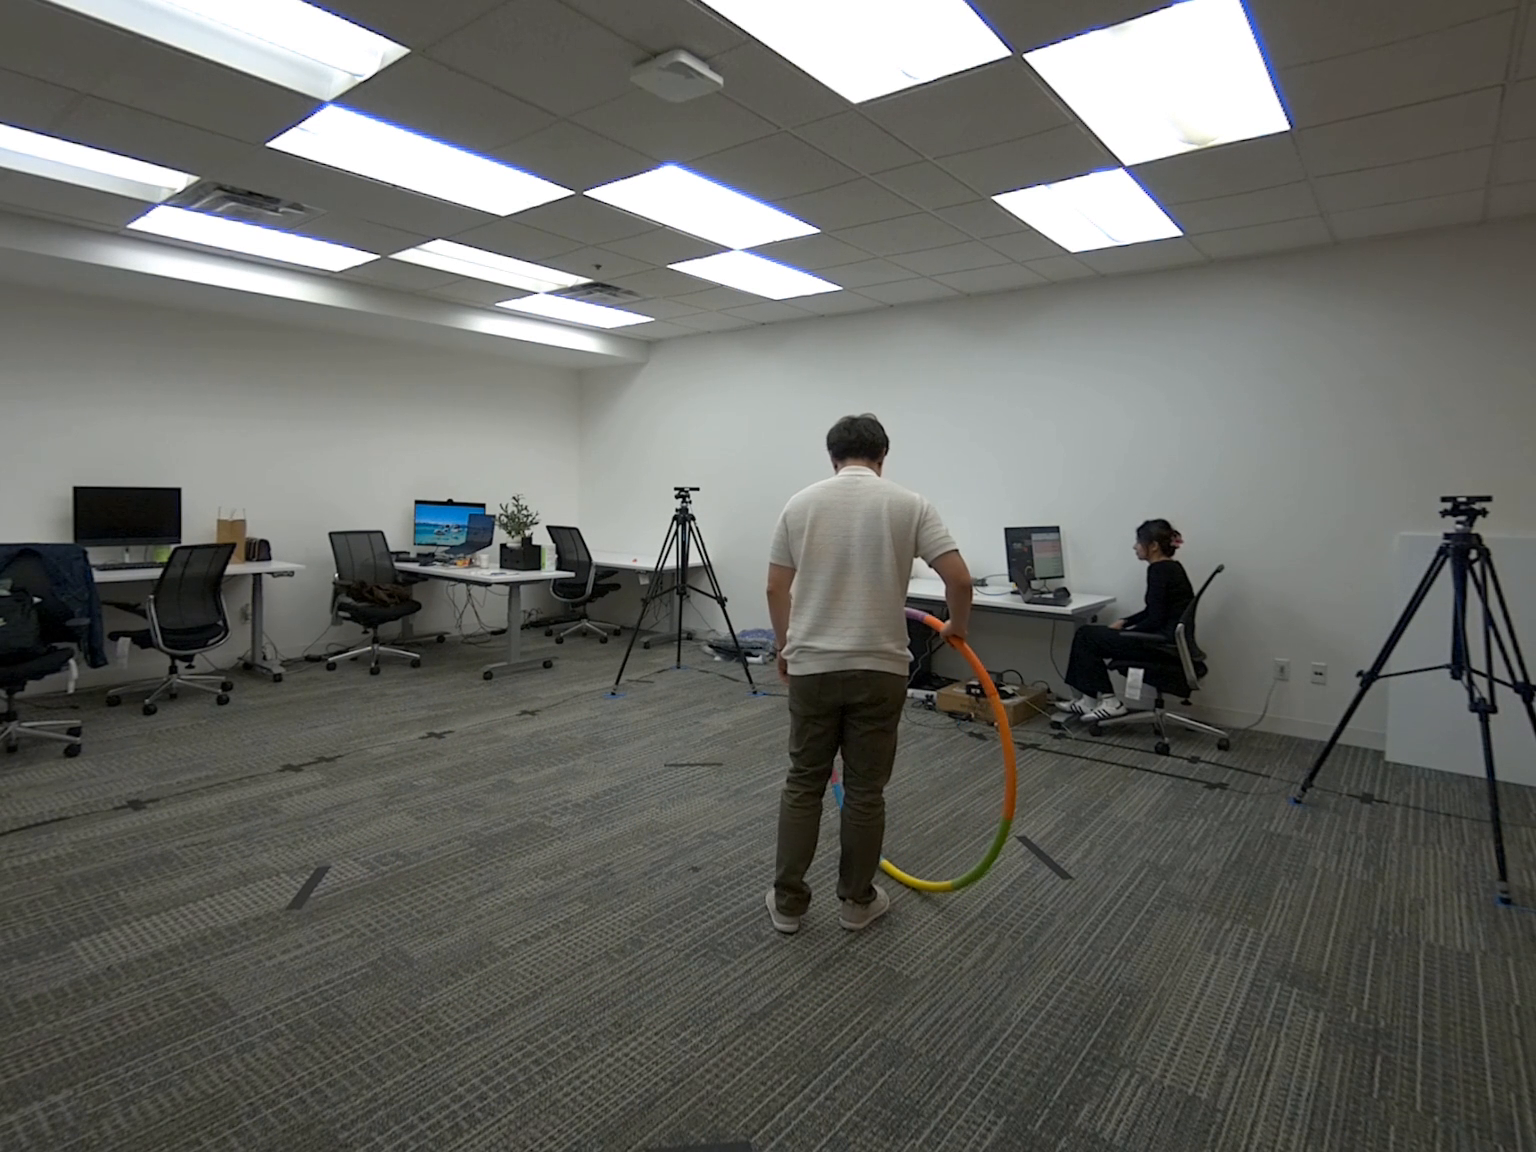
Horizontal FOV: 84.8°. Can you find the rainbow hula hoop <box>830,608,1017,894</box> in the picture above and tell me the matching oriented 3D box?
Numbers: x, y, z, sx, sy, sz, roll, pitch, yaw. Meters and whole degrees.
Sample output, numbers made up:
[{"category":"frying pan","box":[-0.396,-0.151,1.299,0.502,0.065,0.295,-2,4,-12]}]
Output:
[{"category":"rainbow hula hoop","box":[0.462,0.598,3.019,0.034,0.975,1.009,-2,5,-32]}]
